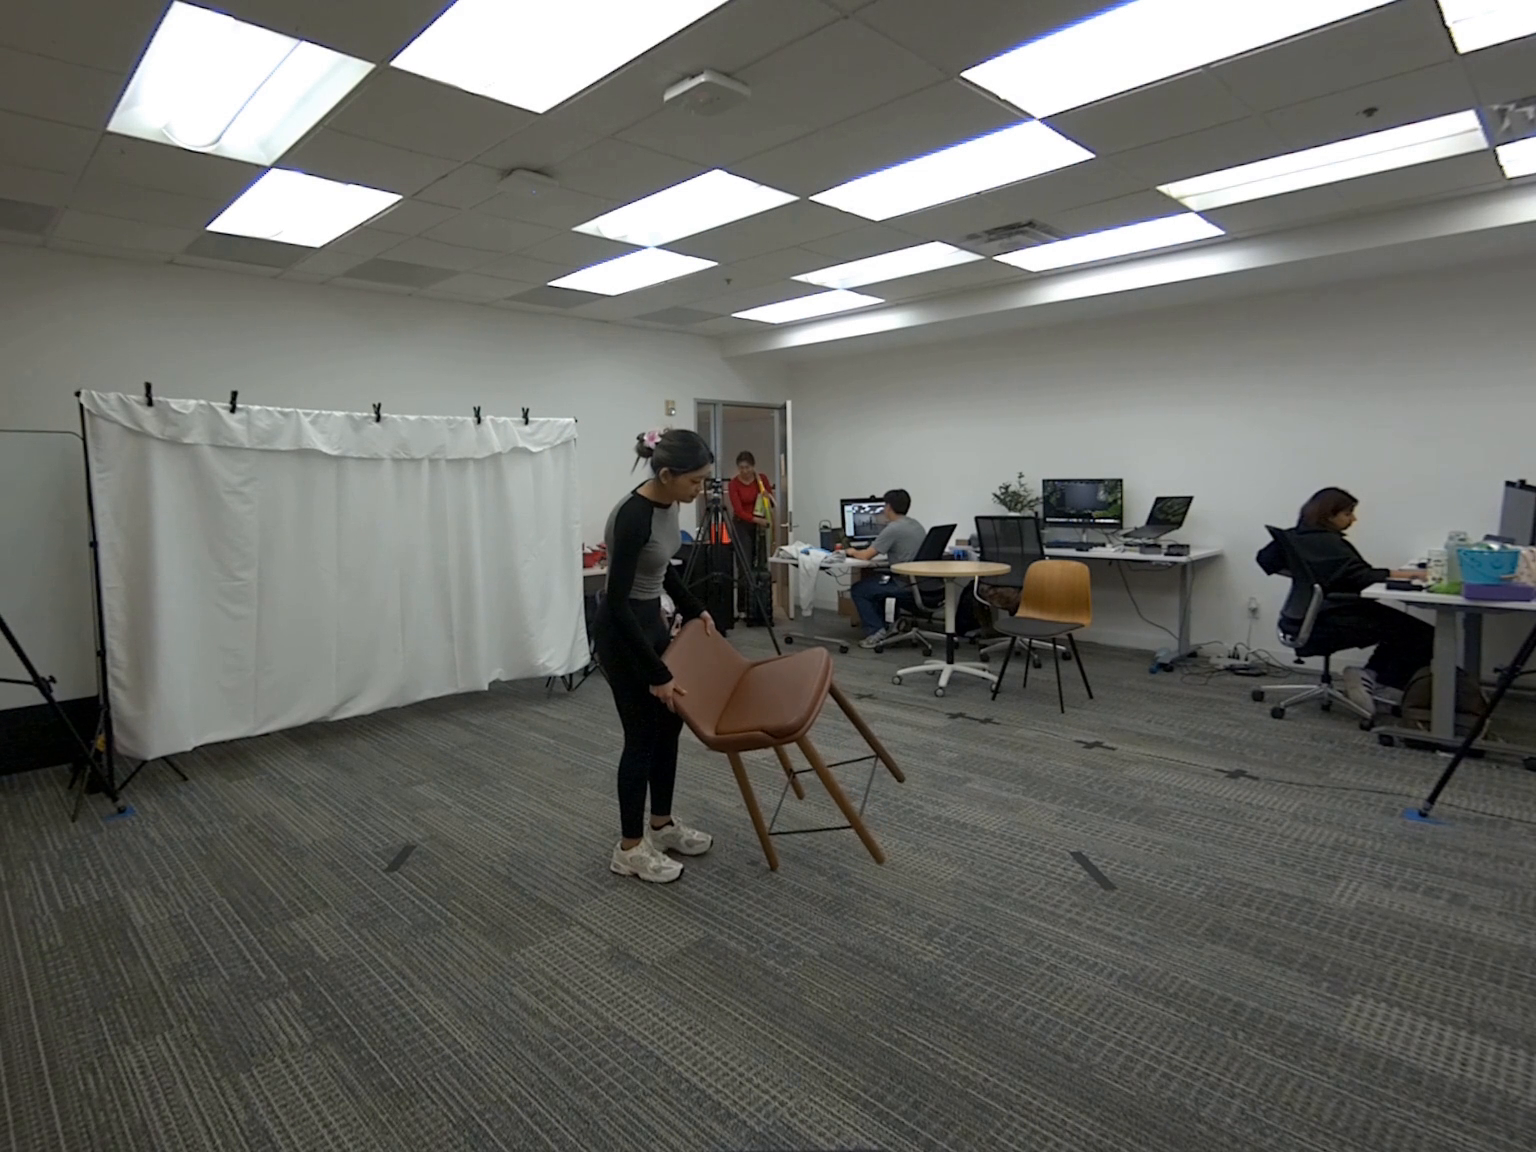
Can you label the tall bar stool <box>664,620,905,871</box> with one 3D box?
[{"bbox_3d":[0.057,0.547,2.967,0.475,0.872,0.458,-20,20,31],"label":"tall bar stool"}]
